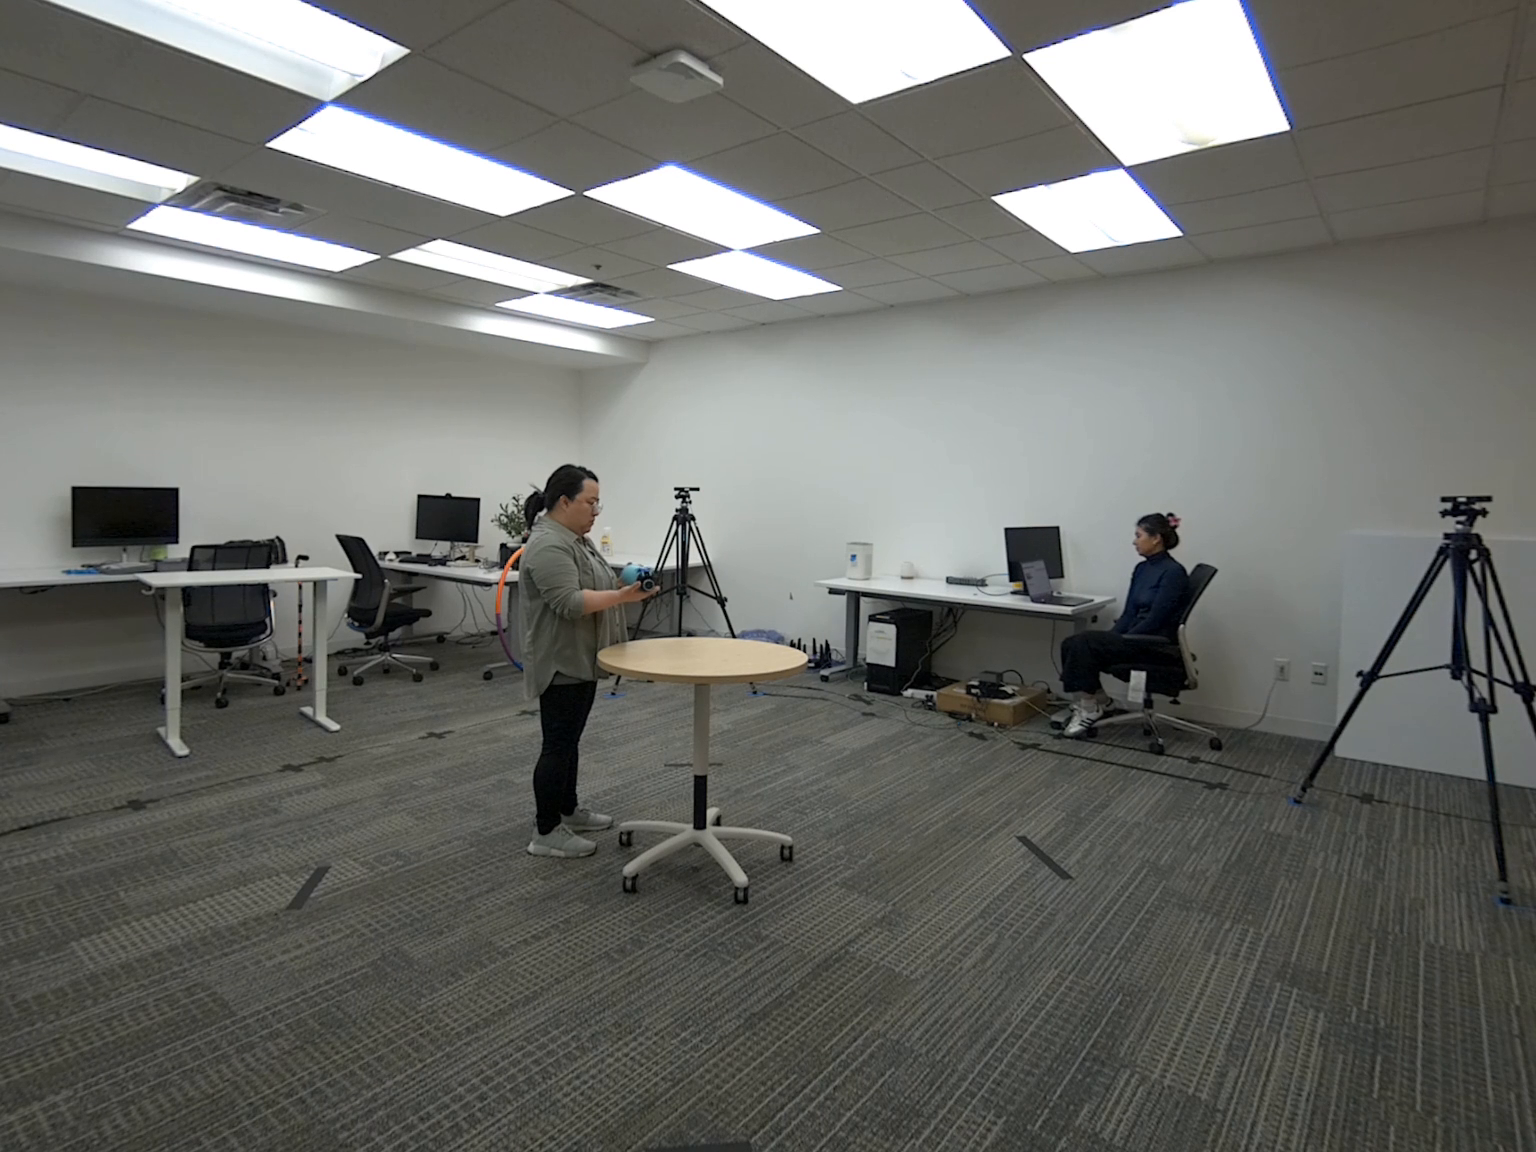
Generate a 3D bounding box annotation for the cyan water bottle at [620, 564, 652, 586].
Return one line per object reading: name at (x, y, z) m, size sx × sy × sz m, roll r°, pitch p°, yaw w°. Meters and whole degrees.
cyan water bottle at (-0.505, 0.008, 3.246) m, size 0.090 × 0.092 × 0.289 m, roll -1°, pitch 3°, yaw -20°
